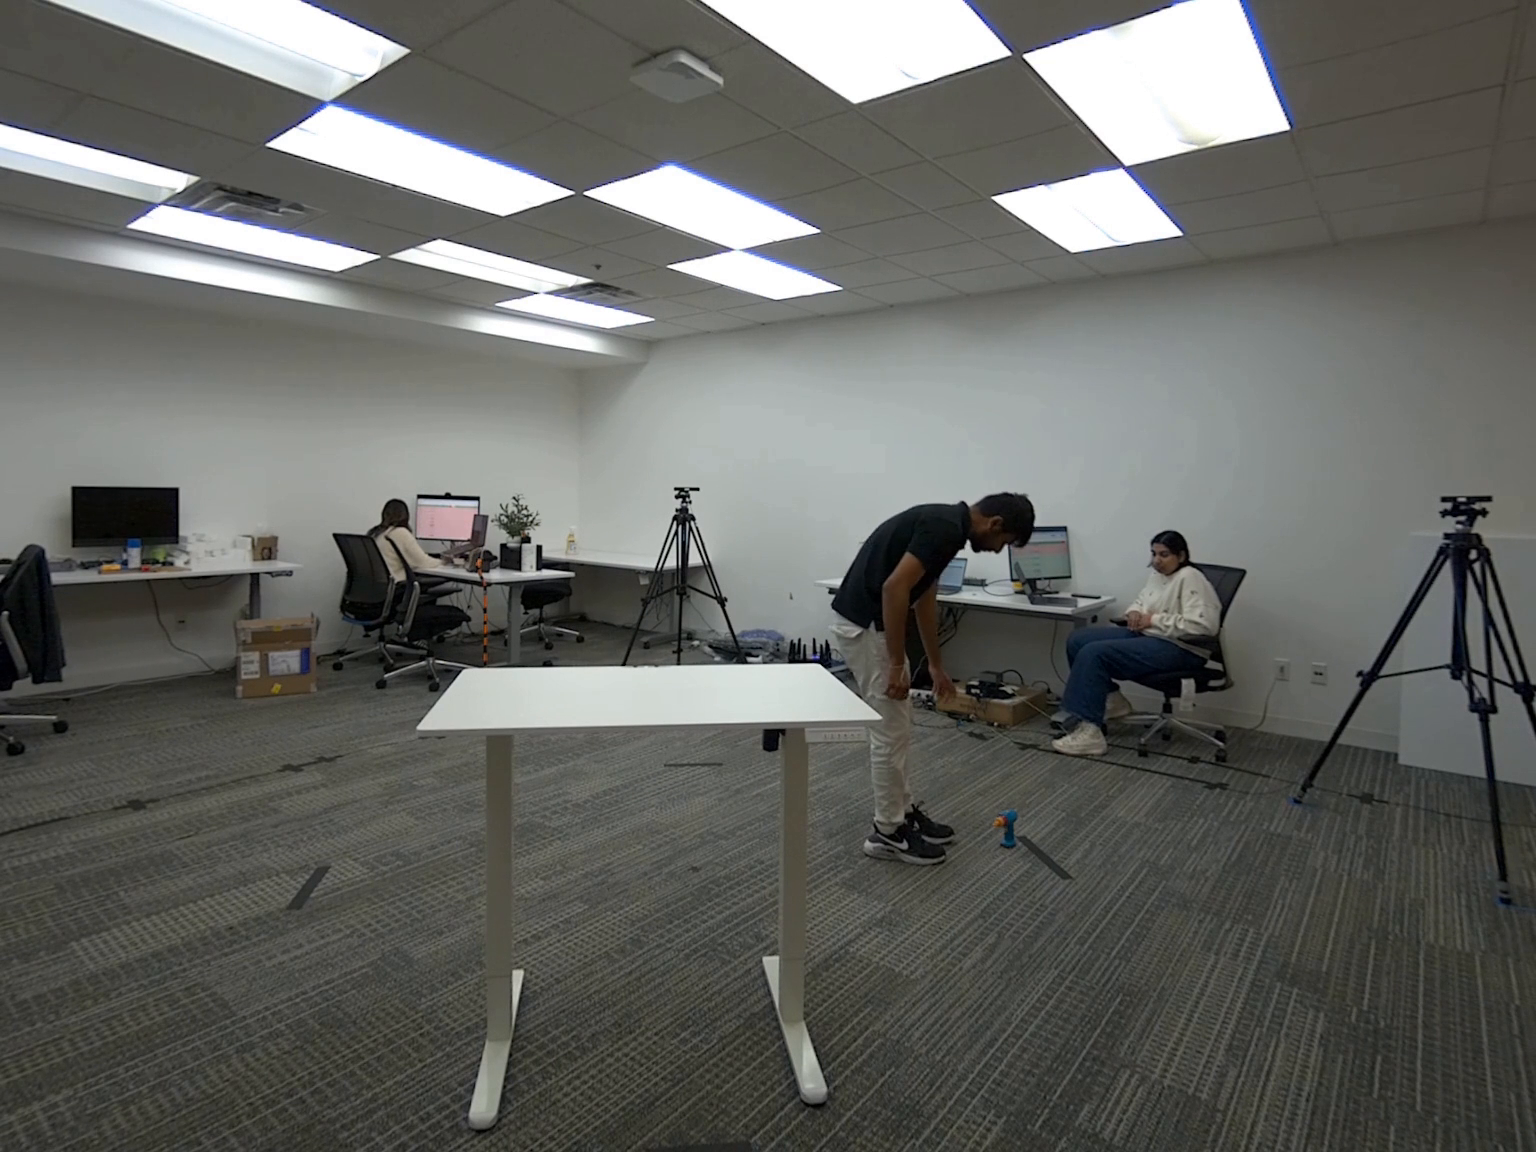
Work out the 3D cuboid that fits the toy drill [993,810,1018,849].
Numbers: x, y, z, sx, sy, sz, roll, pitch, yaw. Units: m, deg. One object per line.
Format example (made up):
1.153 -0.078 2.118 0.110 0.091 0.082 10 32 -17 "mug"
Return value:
0.928 0.999 3.355 0.164 0.146 0.063 0 1 -44 "toy drill"
